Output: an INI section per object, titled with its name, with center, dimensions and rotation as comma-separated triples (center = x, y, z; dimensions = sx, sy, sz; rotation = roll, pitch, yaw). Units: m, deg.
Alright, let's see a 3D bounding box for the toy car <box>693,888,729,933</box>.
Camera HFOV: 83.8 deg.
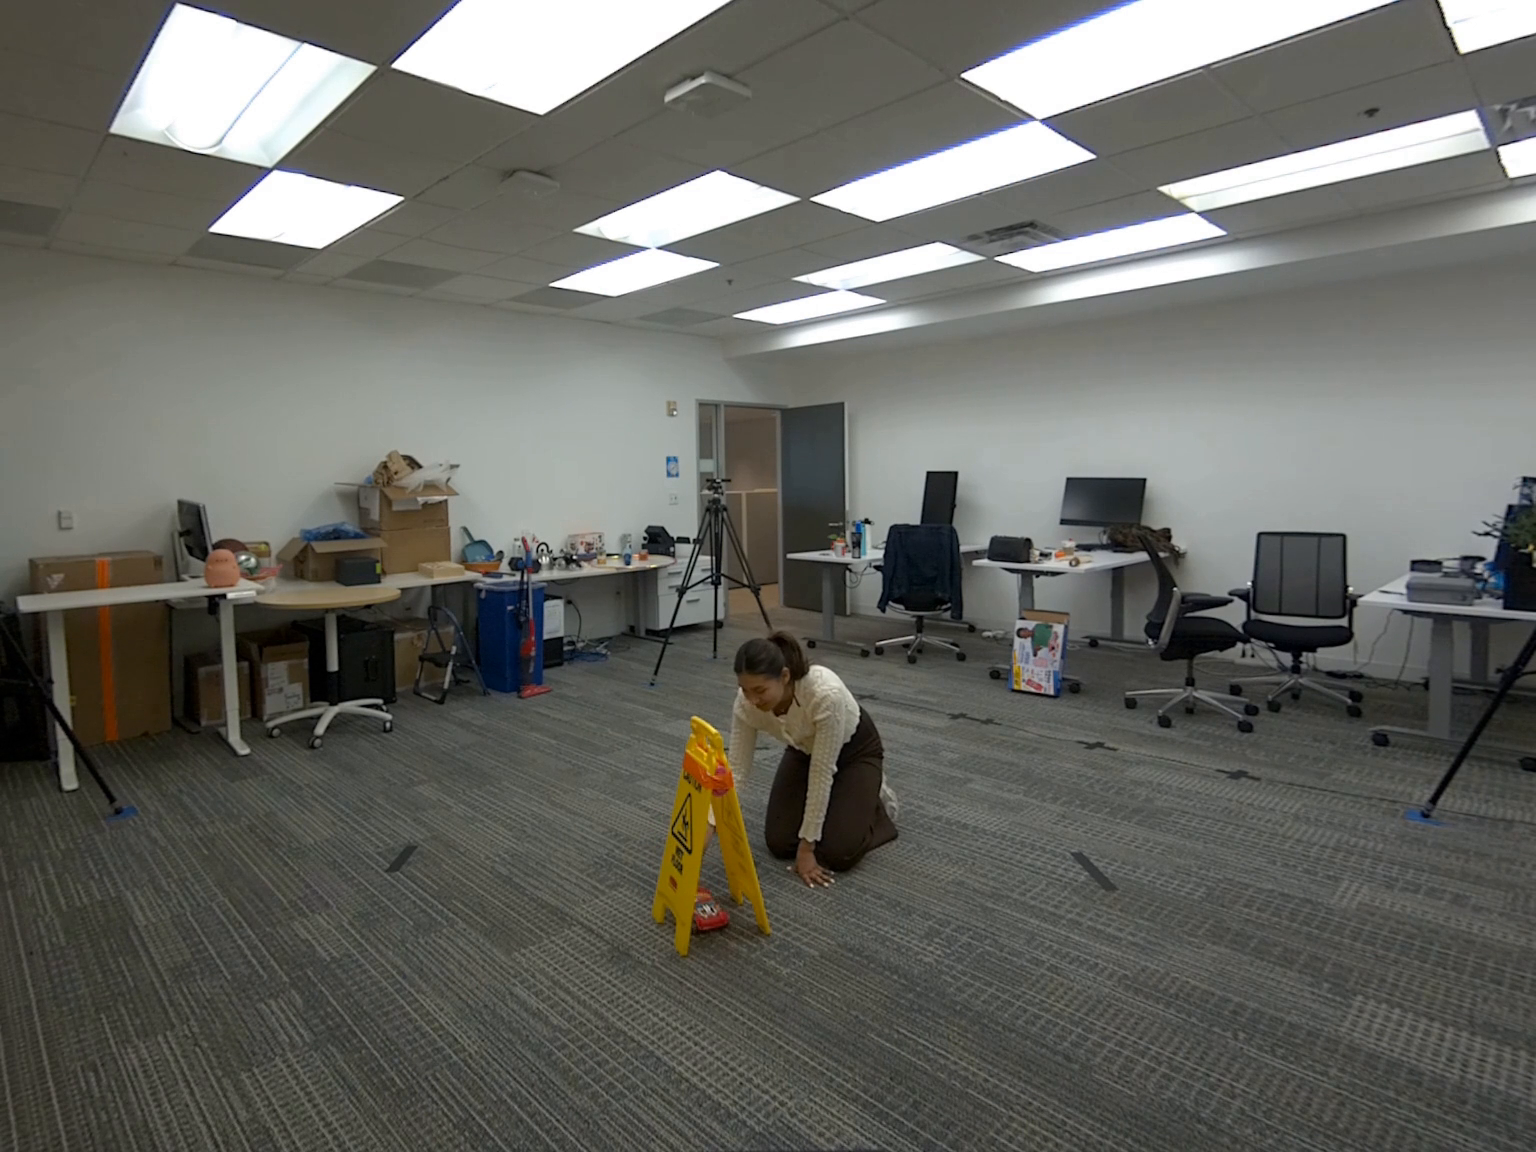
[toy car]
center = -0.221, 1.052, 2.765
dimensions = 0.128, 0.082, 0.262
rotation = -4, 18, -21
